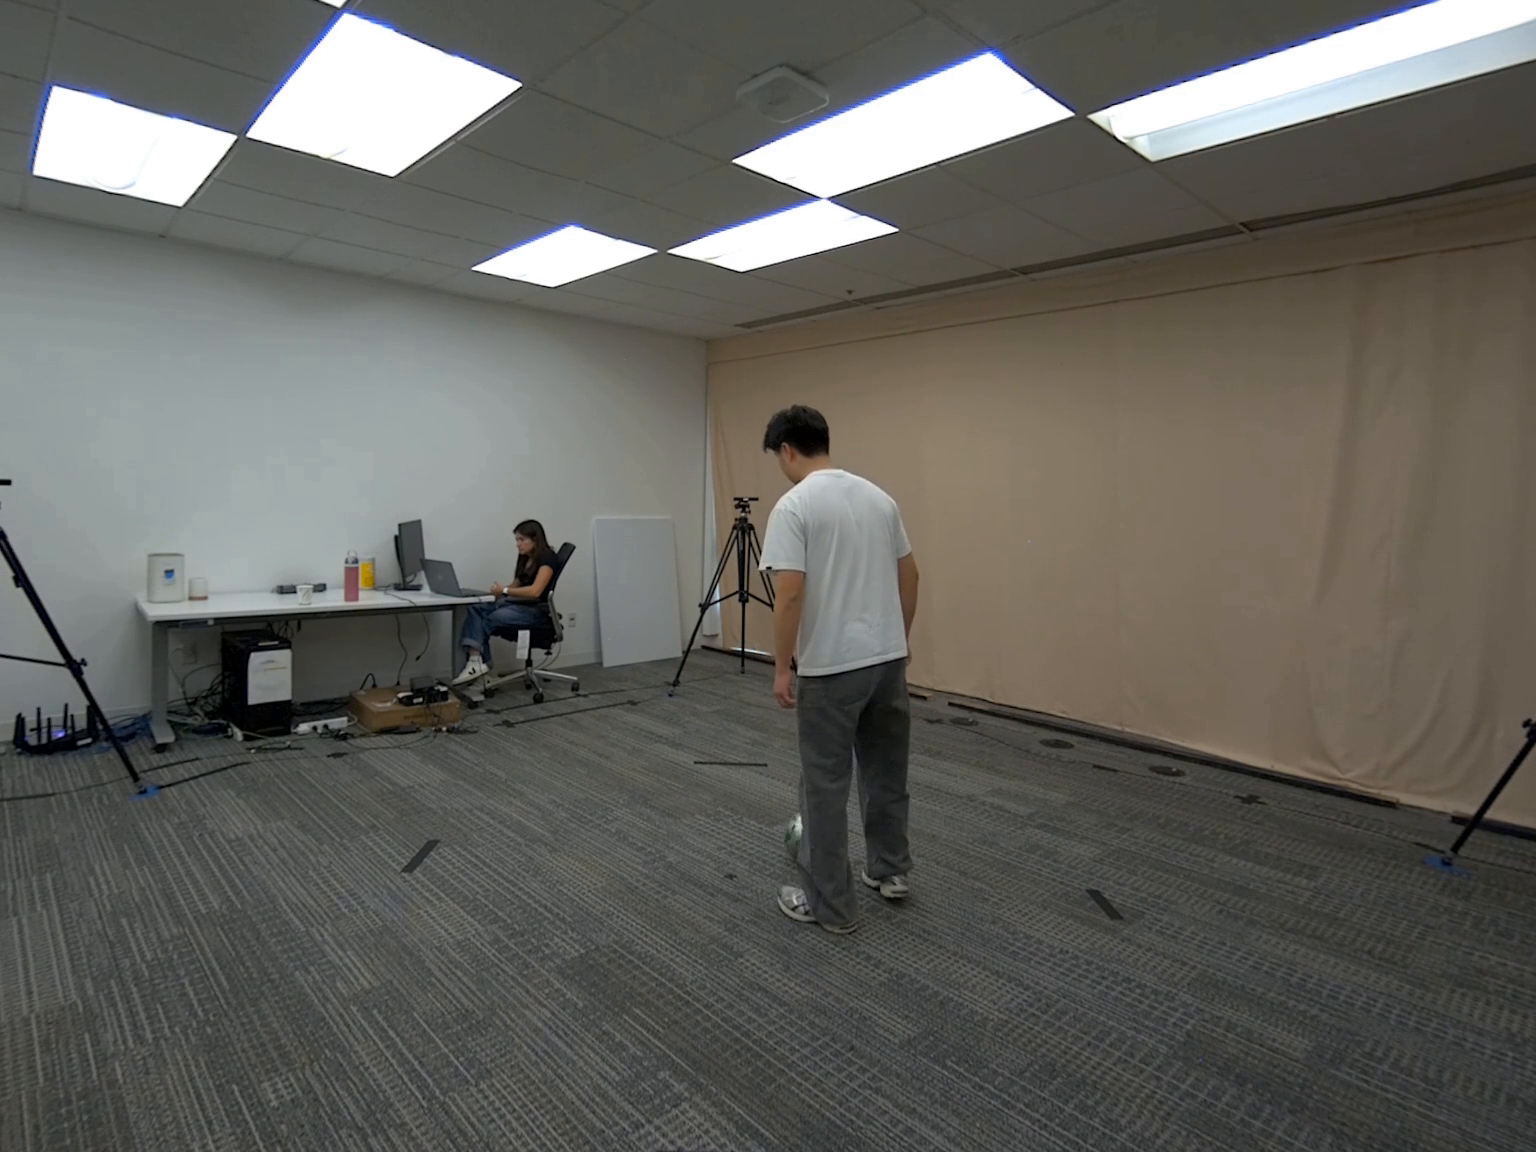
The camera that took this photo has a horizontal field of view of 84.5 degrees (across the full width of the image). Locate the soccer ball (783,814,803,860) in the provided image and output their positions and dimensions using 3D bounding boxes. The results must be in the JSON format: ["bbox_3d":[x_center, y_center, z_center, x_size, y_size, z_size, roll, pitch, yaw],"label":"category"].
[{"bbox_3d":[0.147,1.011,3.248,0.187,0.187,0.188,1,4,-1],"label":"soccer ball"}]
